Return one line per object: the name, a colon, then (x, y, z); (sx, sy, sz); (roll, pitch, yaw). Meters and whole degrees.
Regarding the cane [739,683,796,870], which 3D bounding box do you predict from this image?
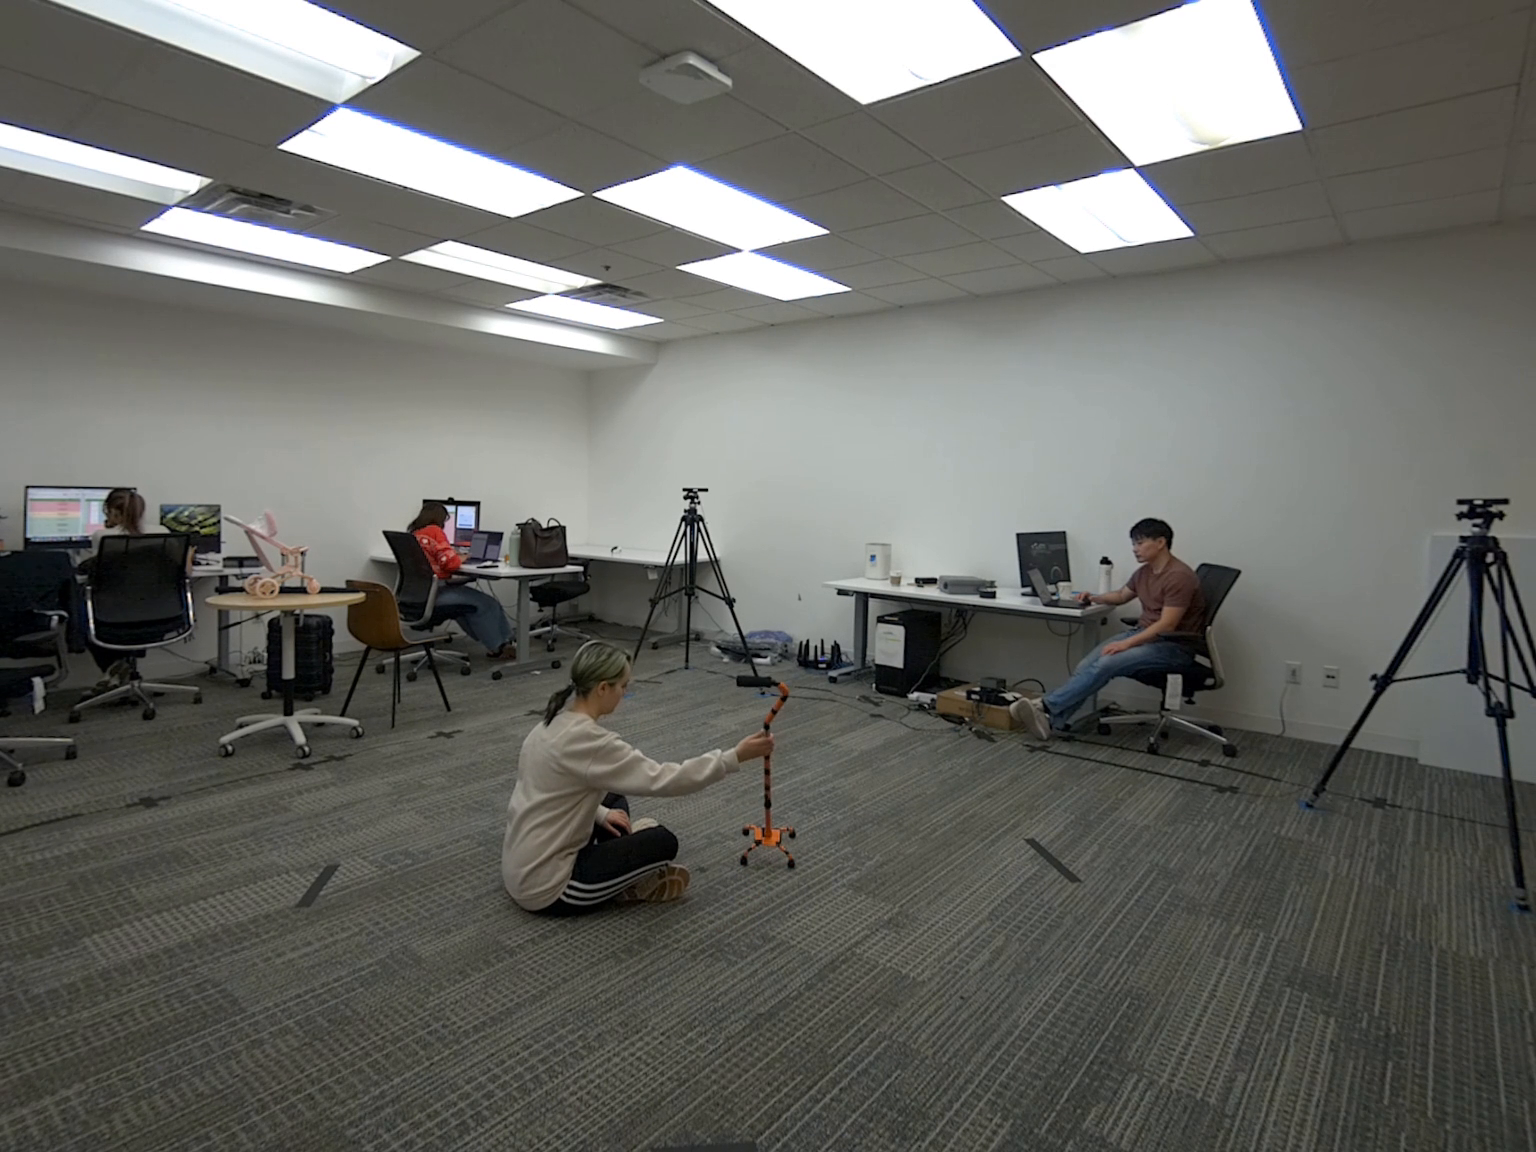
cane: (-0.009, 0.680, 2.927); (0.207, 0.882, 0.155); (2, 38, 3)
